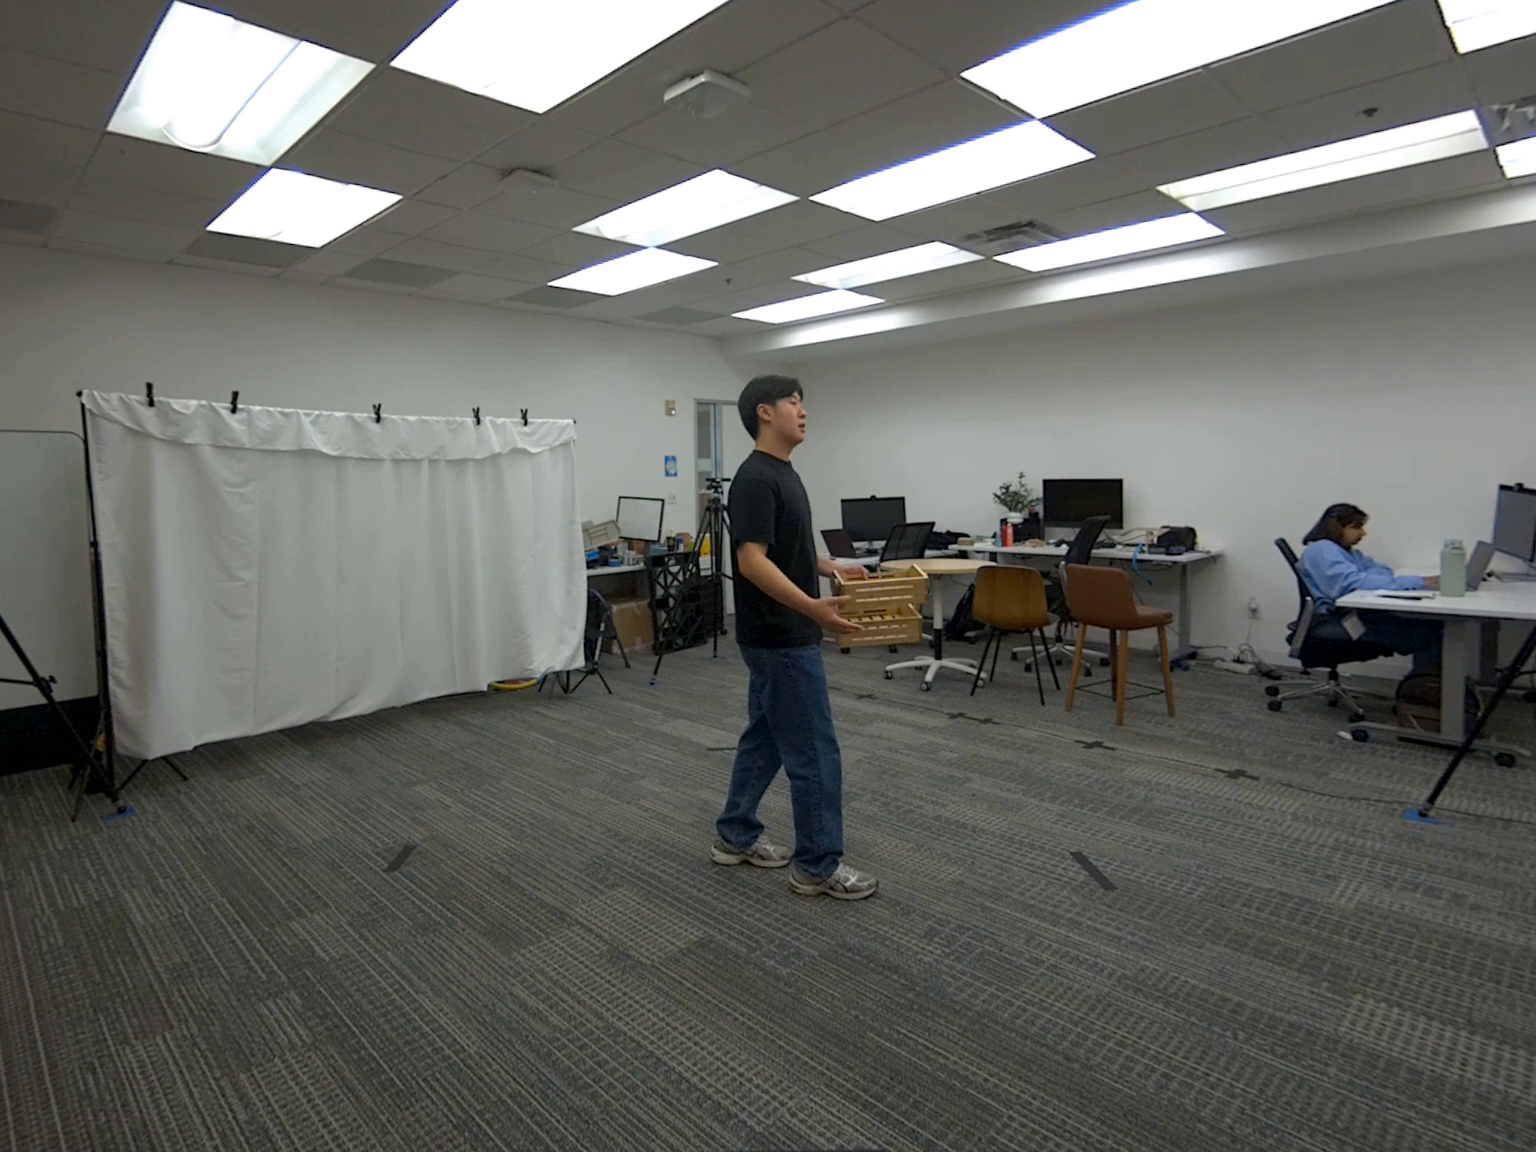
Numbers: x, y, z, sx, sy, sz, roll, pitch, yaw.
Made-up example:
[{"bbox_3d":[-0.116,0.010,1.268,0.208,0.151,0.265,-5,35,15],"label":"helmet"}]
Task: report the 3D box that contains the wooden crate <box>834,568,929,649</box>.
[{"bbox_3d":[0.391,0.086,3.085,0.323,0.269,0.308,-4,18,-6],"label":"wooden crate"}]
